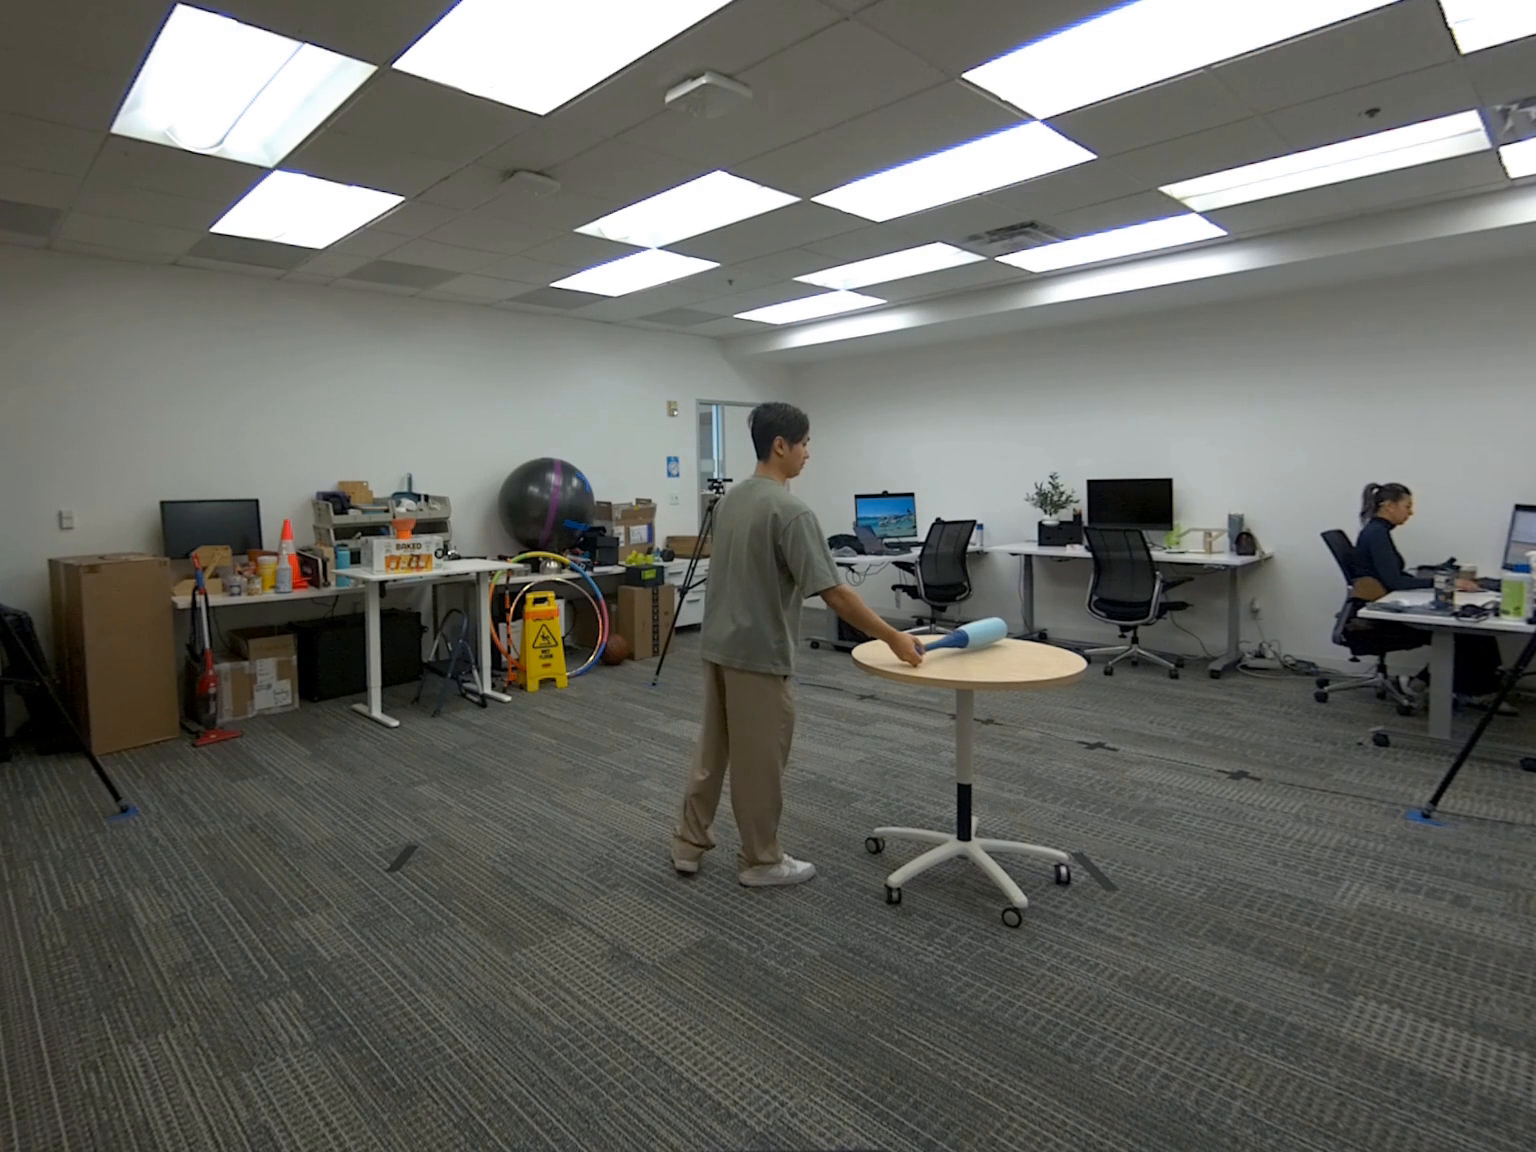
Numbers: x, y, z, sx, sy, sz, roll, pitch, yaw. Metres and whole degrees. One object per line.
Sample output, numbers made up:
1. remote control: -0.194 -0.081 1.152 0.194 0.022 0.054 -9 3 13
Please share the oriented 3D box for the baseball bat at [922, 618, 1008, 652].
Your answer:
1. baseball bat: 0.643 0.215 2.923 0.529 0.088 0.092 -8 8 -43
